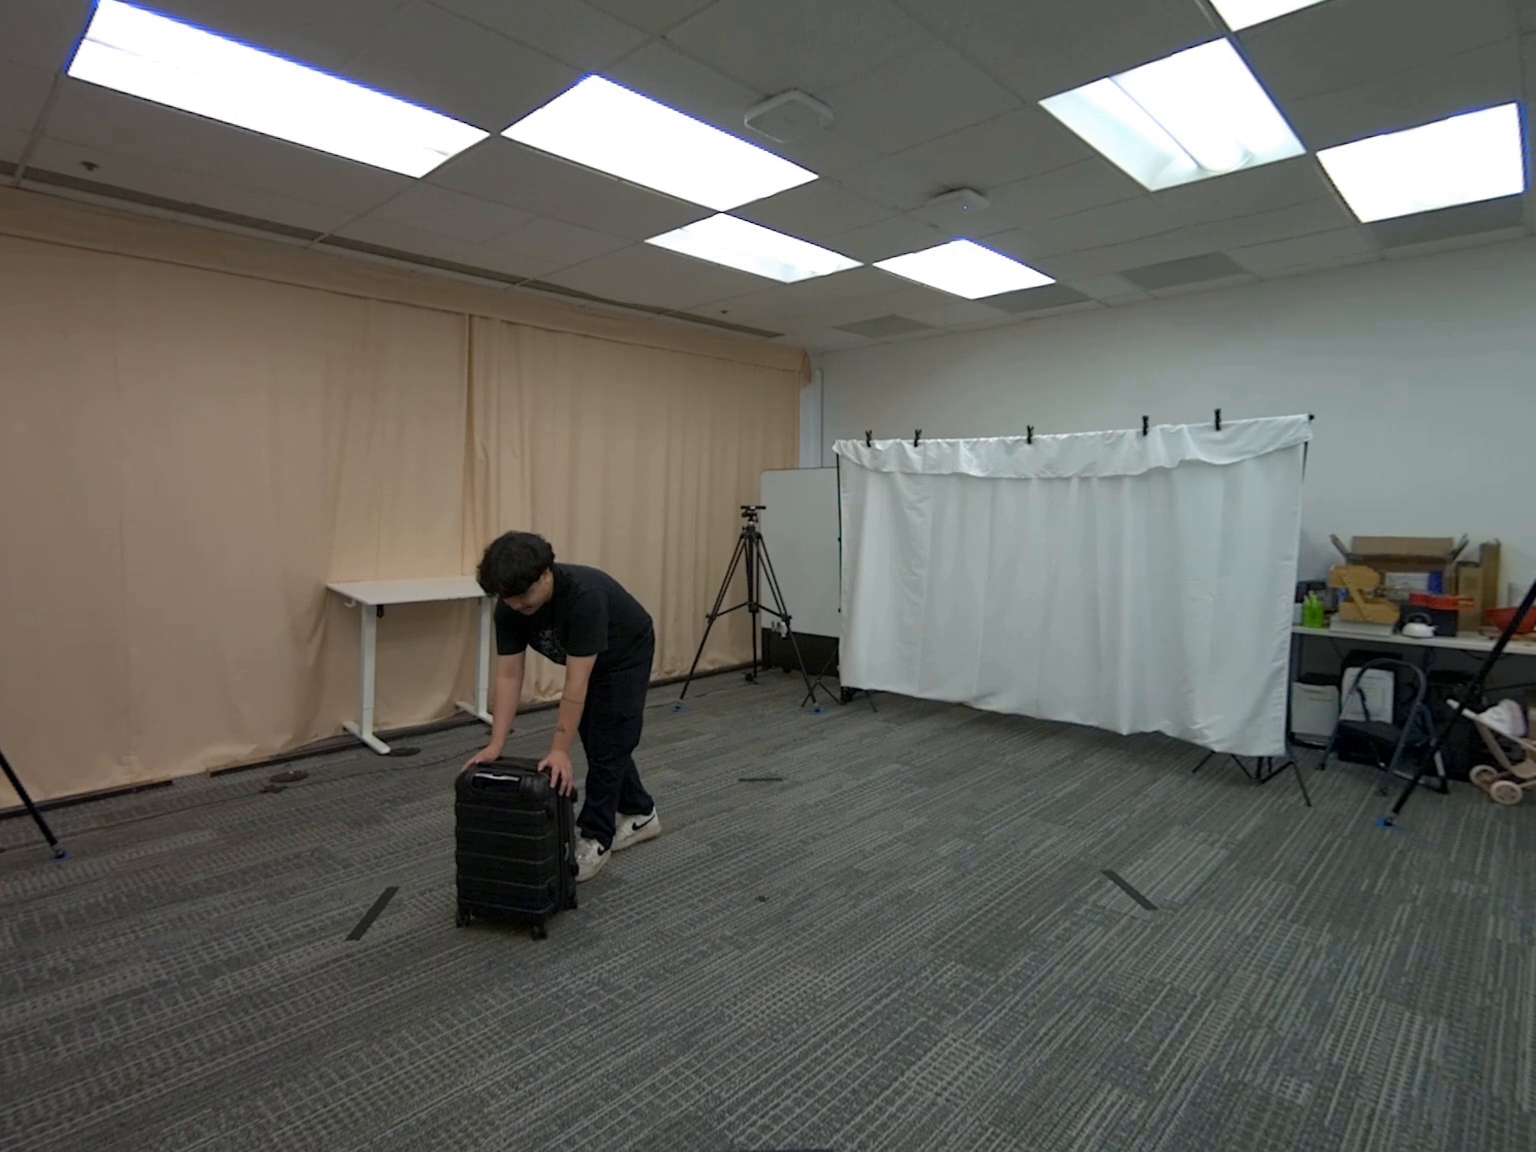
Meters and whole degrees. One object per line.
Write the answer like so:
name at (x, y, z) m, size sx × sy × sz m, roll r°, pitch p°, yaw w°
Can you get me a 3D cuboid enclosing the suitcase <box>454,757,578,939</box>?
suitcase at (-0.852, 0.887, 2.839) m, size 0.382 × 0.548 × 0.244 m, roll 1°, pitch 4°, yaw 16°
